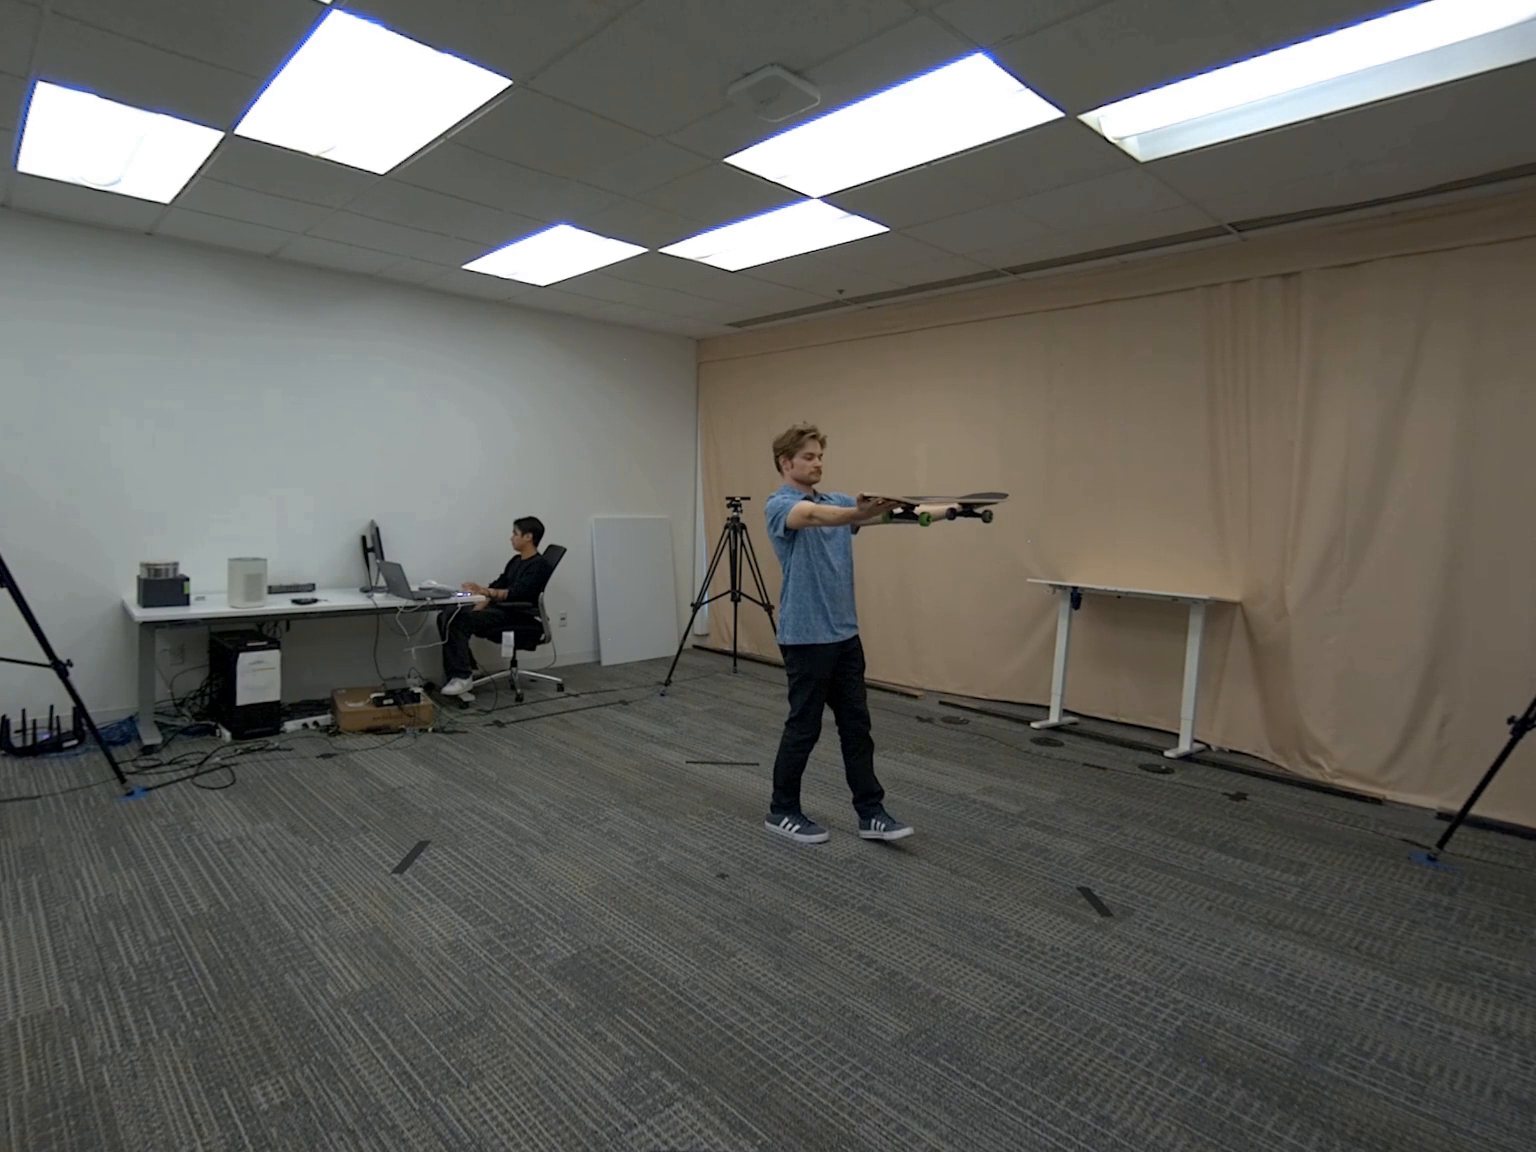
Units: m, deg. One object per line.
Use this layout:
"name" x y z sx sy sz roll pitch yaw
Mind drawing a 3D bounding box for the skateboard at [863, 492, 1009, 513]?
"skateboard" 0.606 -0.241 3.026 0.768 0.110 0.198 -6 10 -43
